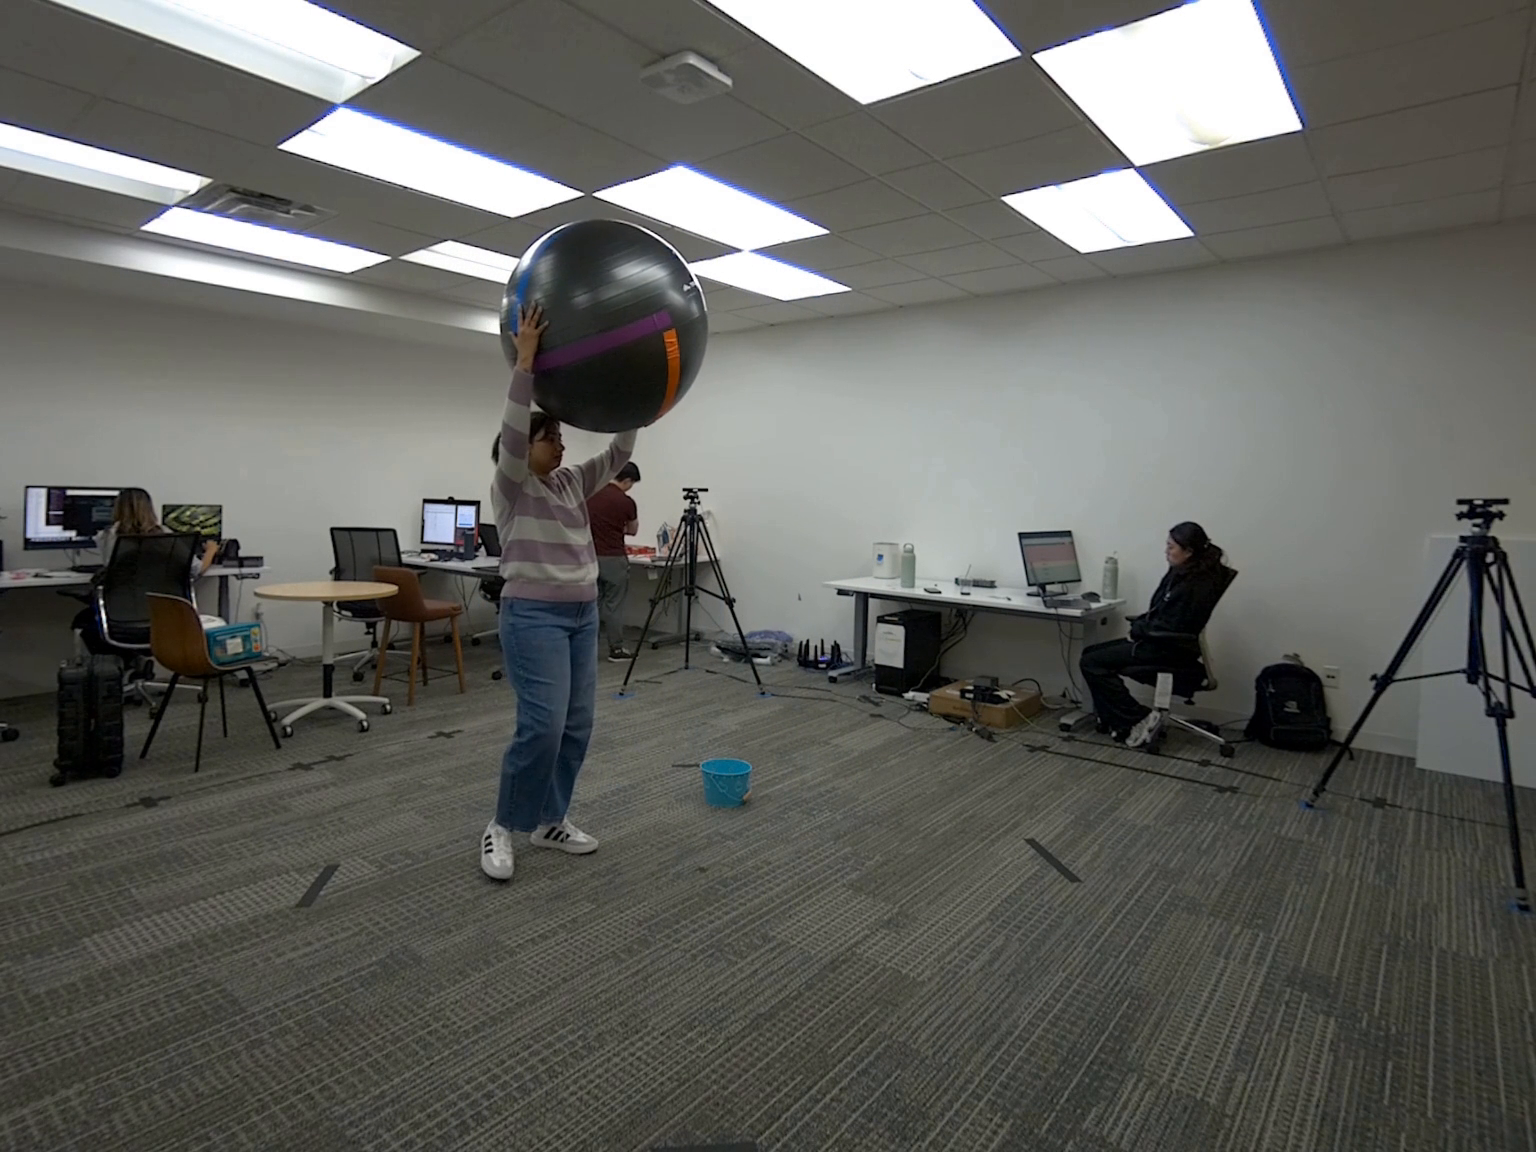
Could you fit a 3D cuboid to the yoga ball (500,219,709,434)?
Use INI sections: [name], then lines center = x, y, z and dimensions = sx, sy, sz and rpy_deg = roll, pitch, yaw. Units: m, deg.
[yoga ball]
center = -0.610, -0.908, 3.122
dimensions = 0.757, 0.756, 0.761
rpy_deg = 1, 4, -2
